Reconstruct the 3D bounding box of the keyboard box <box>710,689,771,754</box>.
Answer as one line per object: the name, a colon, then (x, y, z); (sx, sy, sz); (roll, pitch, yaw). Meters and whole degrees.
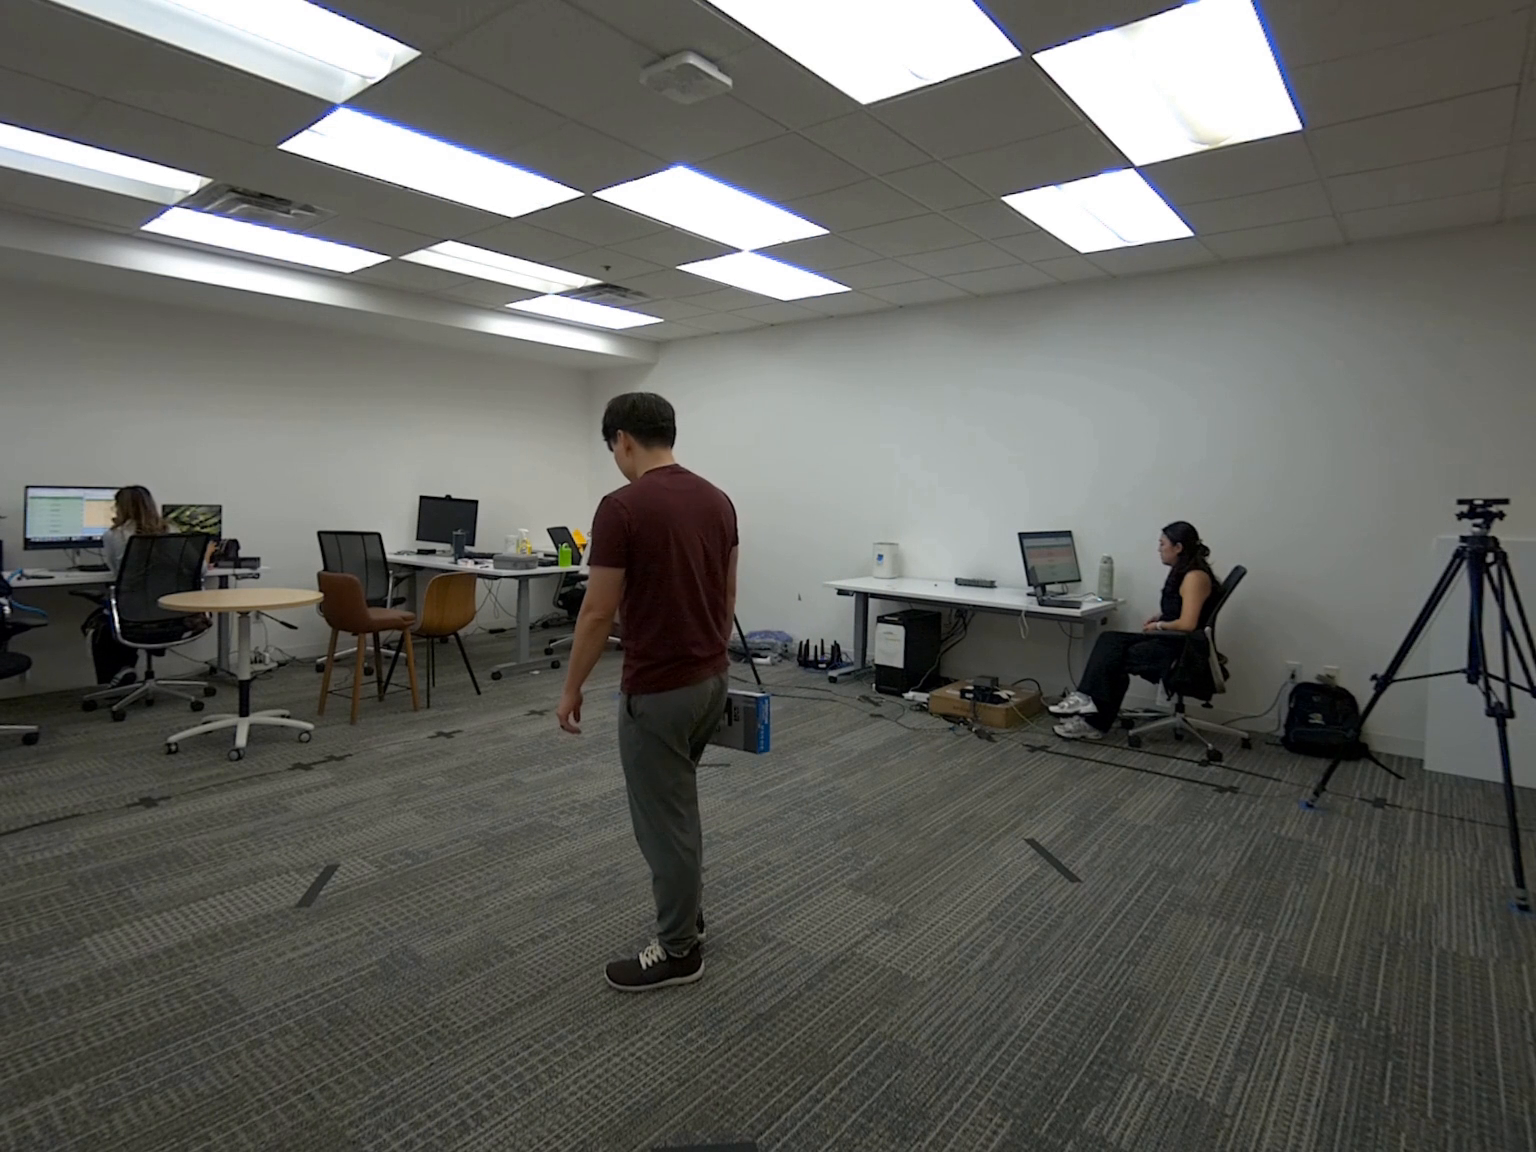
keyboard box: (-0.188, 0.443, 2.705); (0.450, 0.176, 0.057); (0, -1, 42)
